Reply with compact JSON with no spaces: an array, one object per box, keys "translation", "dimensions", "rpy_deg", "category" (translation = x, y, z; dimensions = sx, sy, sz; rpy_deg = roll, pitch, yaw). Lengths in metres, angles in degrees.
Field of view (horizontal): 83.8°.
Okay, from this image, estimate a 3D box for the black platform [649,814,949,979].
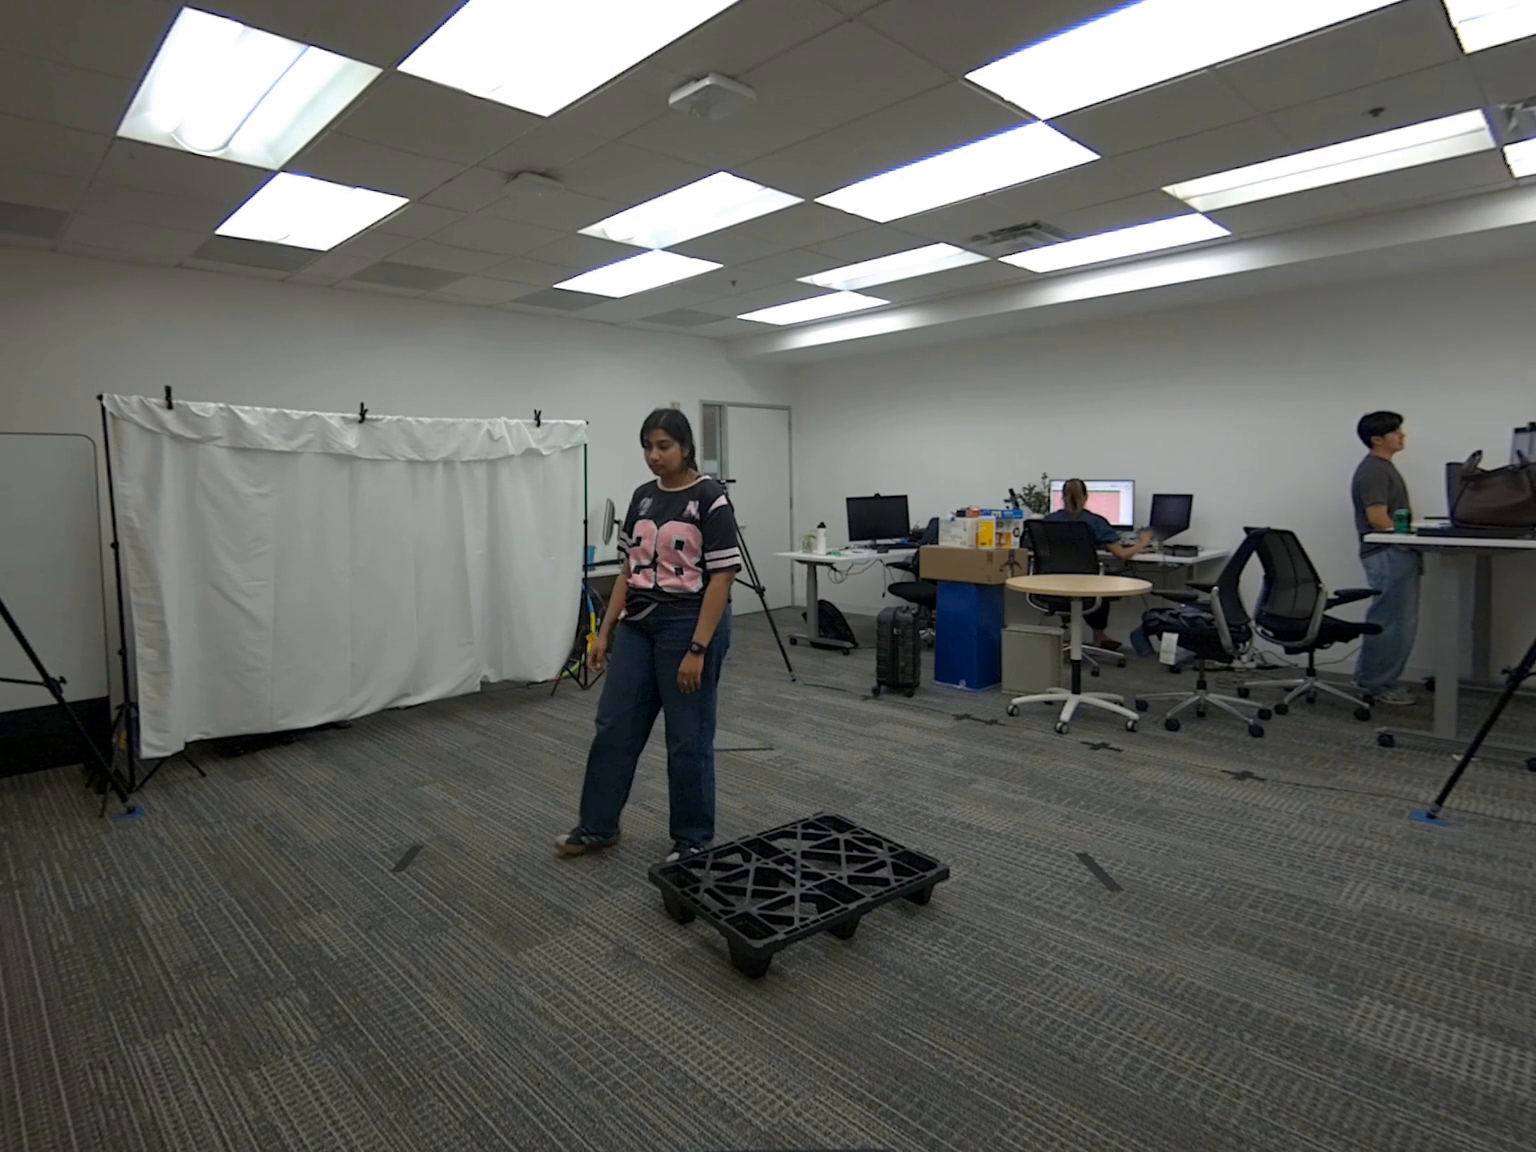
[{"translation":[0.109,1.017,2.779],"dimensions":[0.785,0.142,0.624],"rpy_deg":[-6,9,-36],"category":"black platform"}]
